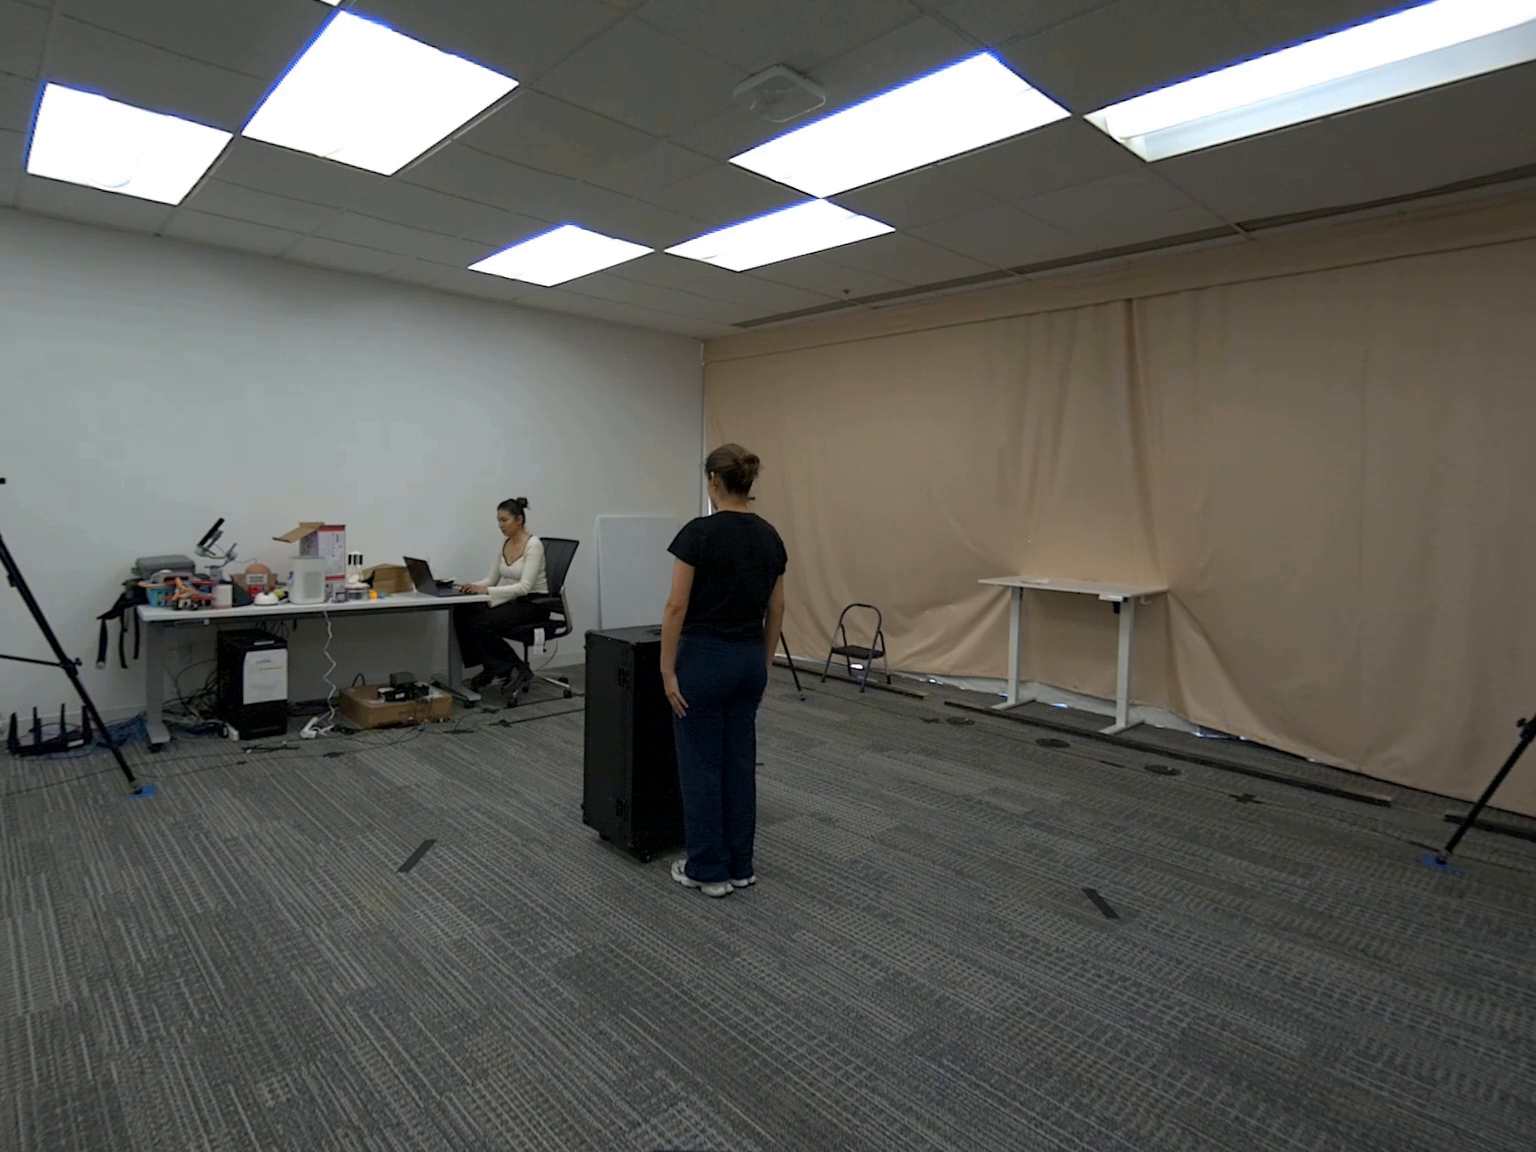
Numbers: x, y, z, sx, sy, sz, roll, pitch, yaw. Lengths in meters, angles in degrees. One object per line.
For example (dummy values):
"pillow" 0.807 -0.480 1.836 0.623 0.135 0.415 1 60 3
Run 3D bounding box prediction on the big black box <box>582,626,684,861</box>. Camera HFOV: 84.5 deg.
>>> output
"big black box" -0.462 0.652 3.392 0.509 0.860 0.406 -2 3 -41
